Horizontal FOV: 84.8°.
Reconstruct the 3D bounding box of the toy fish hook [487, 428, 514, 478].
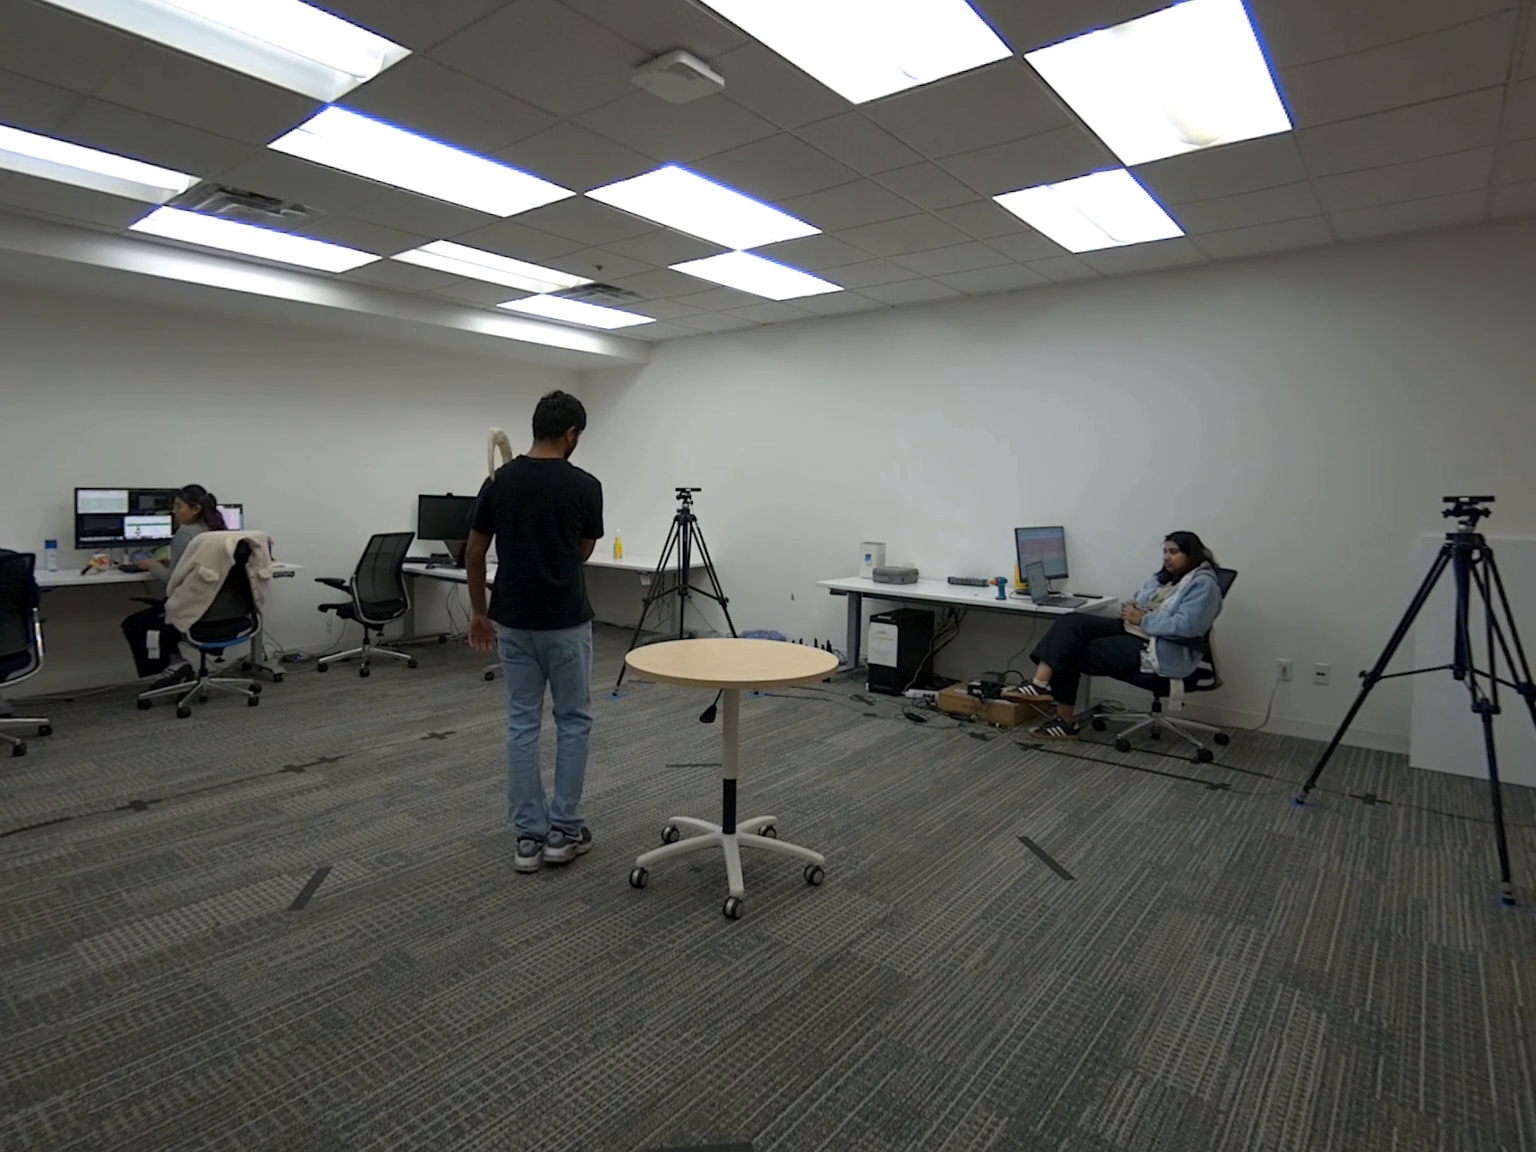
[{"bbox_3d":[-1.010,-0.305,3.211,0.049,0.503,0.224,-6,8,9],"label":"toy fish hook"}]
